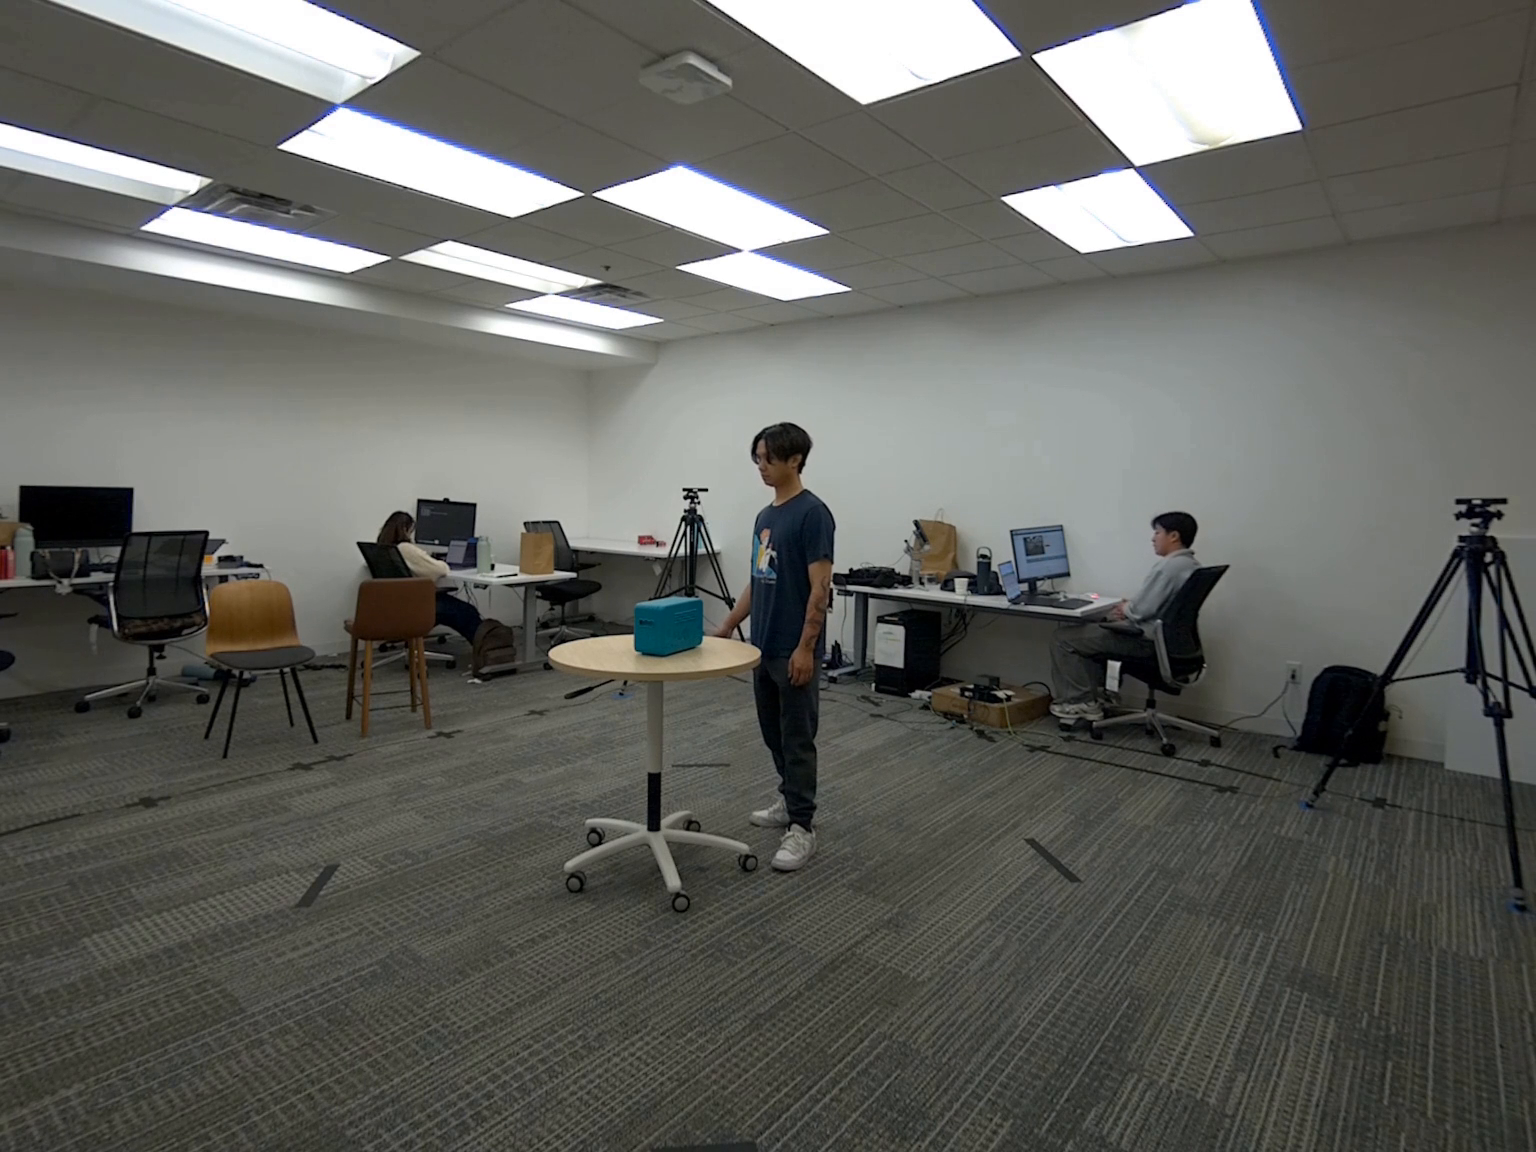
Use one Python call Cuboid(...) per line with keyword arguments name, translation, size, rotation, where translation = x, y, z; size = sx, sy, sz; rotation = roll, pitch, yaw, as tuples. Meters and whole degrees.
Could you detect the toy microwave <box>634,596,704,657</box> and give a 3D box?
Cuboid(name="toy microwave", translation=(-0.382, 0.180, 3.099), size=(0.156, 0.184, 0.280), rotation=(0, 4, 25))
